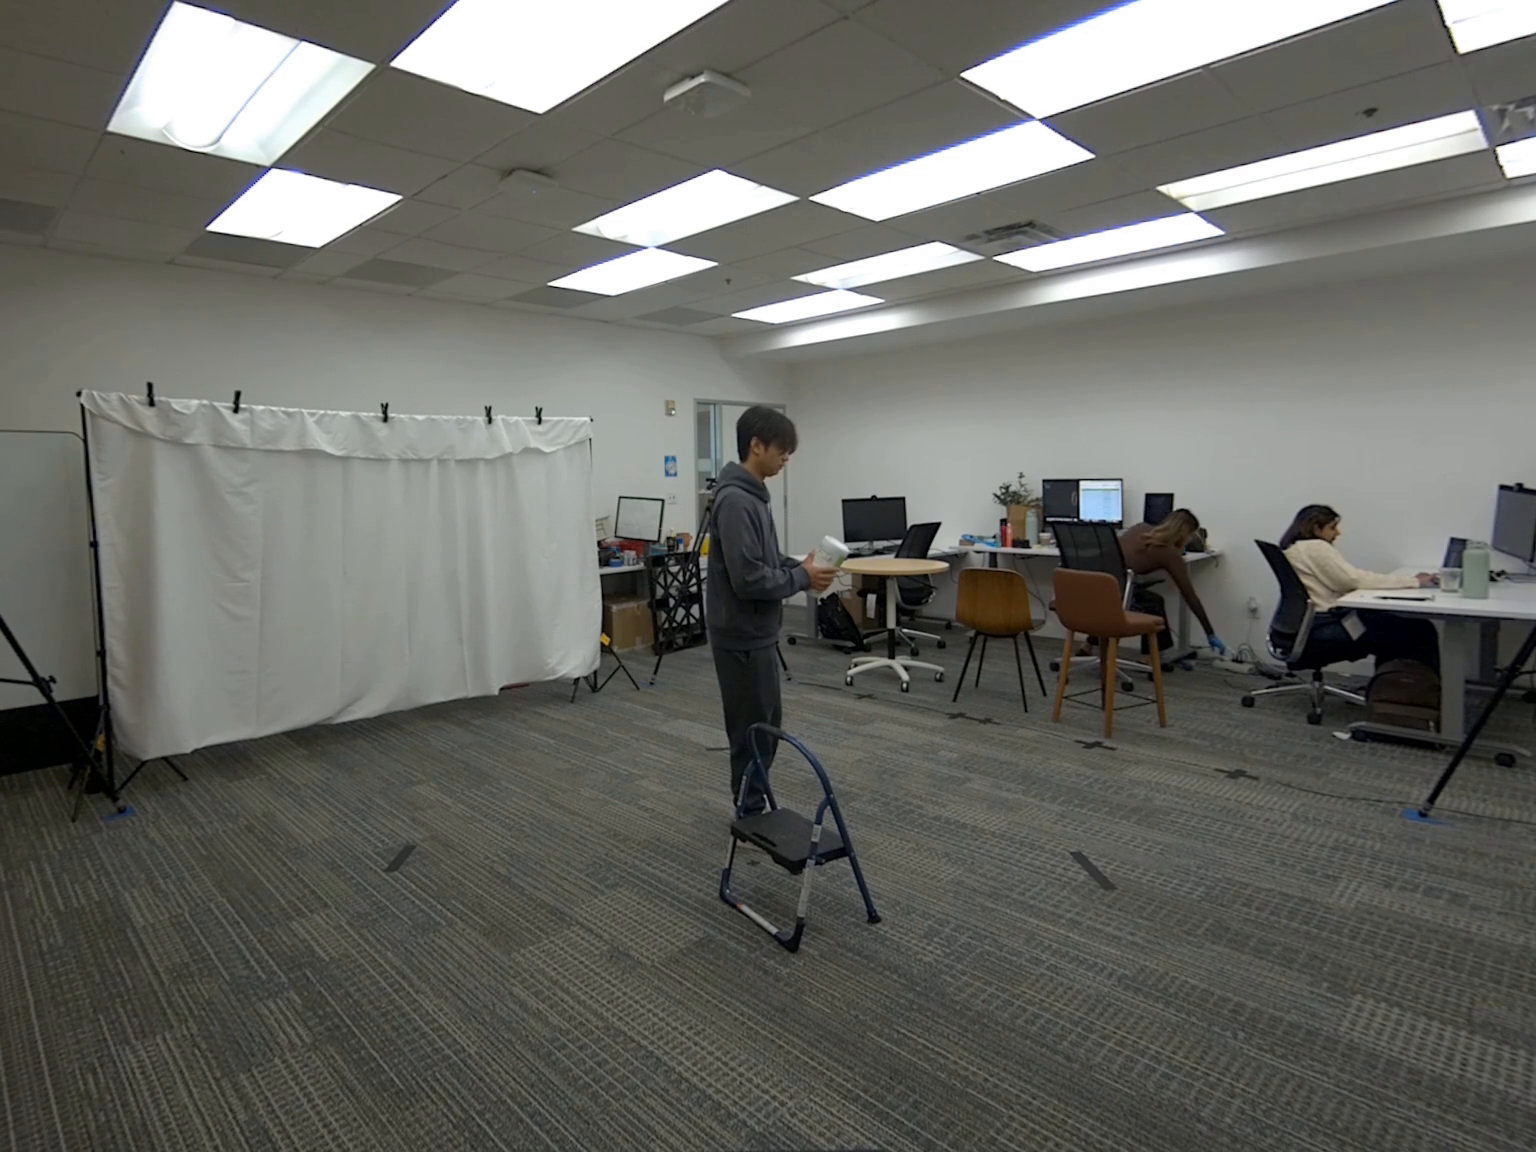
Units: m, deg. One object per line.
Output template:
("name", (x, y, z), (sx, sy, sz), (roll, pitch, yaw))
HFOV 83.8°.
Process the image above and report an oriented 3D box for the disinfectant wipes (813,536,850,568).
("disinfectant wipes", (0.188, -0.036, 3.180), (0.116, 0.217, 0.120), (33, 14, -11))
